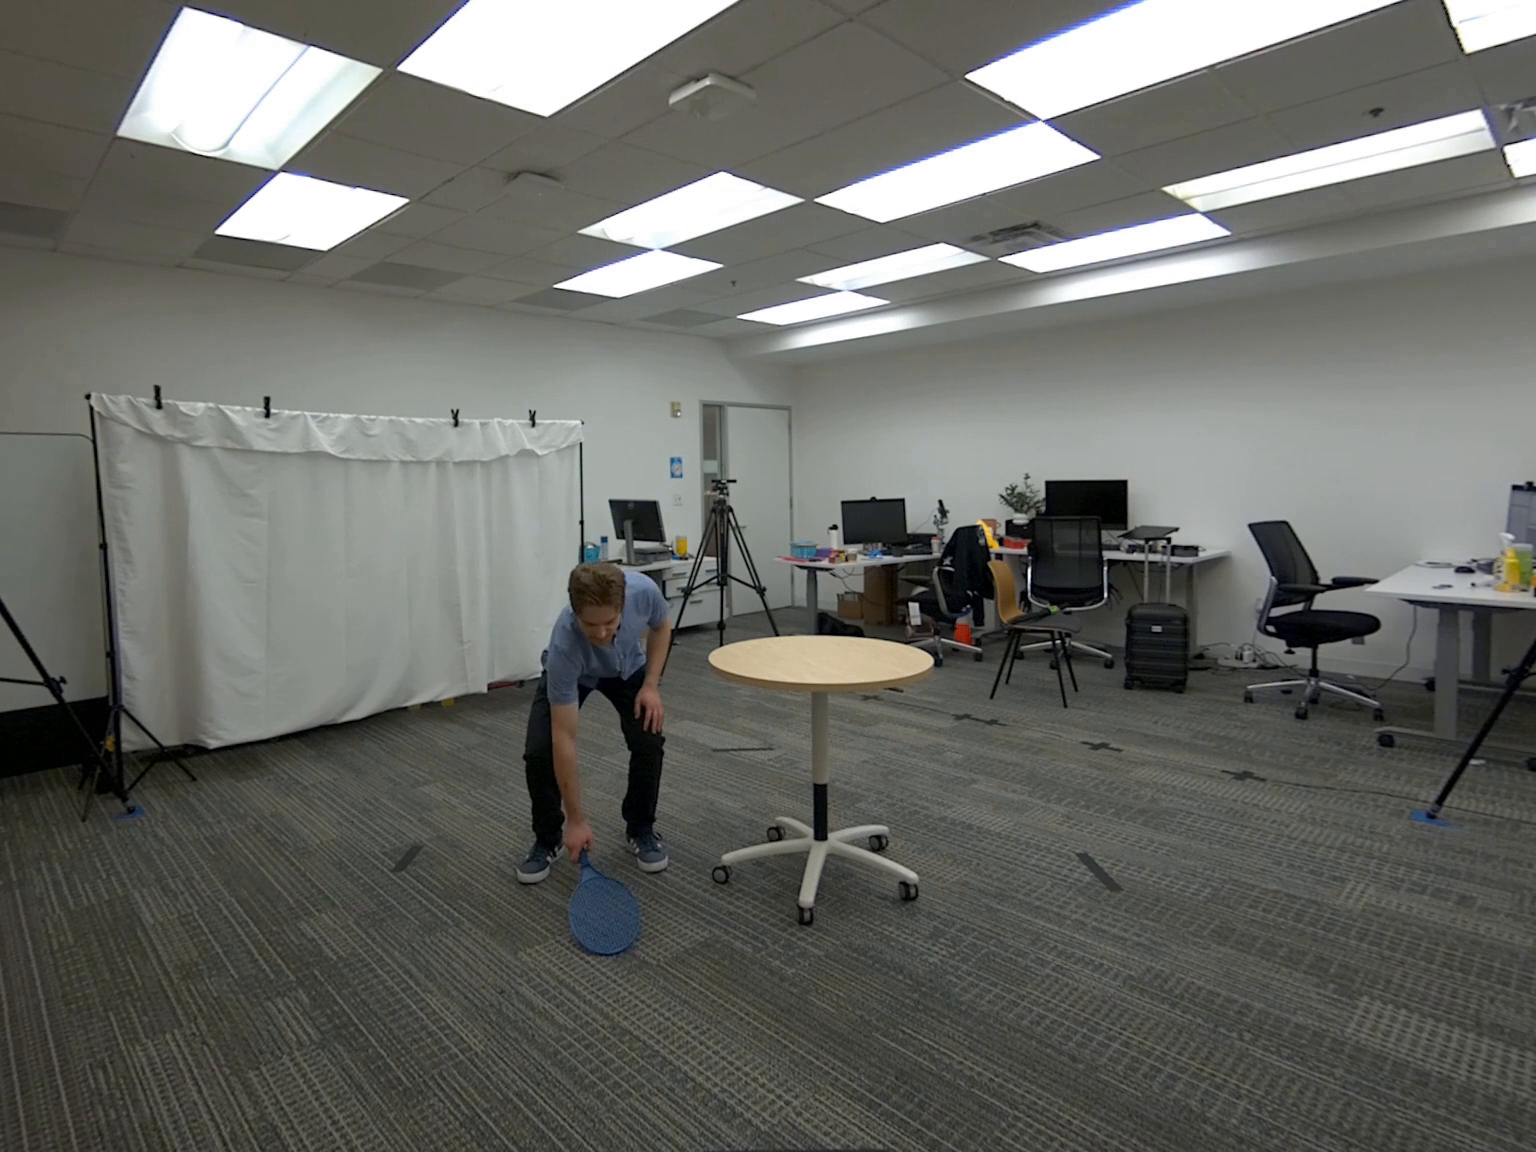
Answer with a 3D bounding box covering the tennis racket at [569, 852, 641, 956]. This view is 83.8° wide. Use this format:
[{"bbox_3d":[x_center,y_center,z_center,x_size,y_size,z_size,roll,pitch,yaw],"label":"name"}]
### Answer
[{"bbox_3d":[-0.540,0.994,2.693,0.210,0.031,0.450,-14,38,-24],"label":"tennis racket"}]
